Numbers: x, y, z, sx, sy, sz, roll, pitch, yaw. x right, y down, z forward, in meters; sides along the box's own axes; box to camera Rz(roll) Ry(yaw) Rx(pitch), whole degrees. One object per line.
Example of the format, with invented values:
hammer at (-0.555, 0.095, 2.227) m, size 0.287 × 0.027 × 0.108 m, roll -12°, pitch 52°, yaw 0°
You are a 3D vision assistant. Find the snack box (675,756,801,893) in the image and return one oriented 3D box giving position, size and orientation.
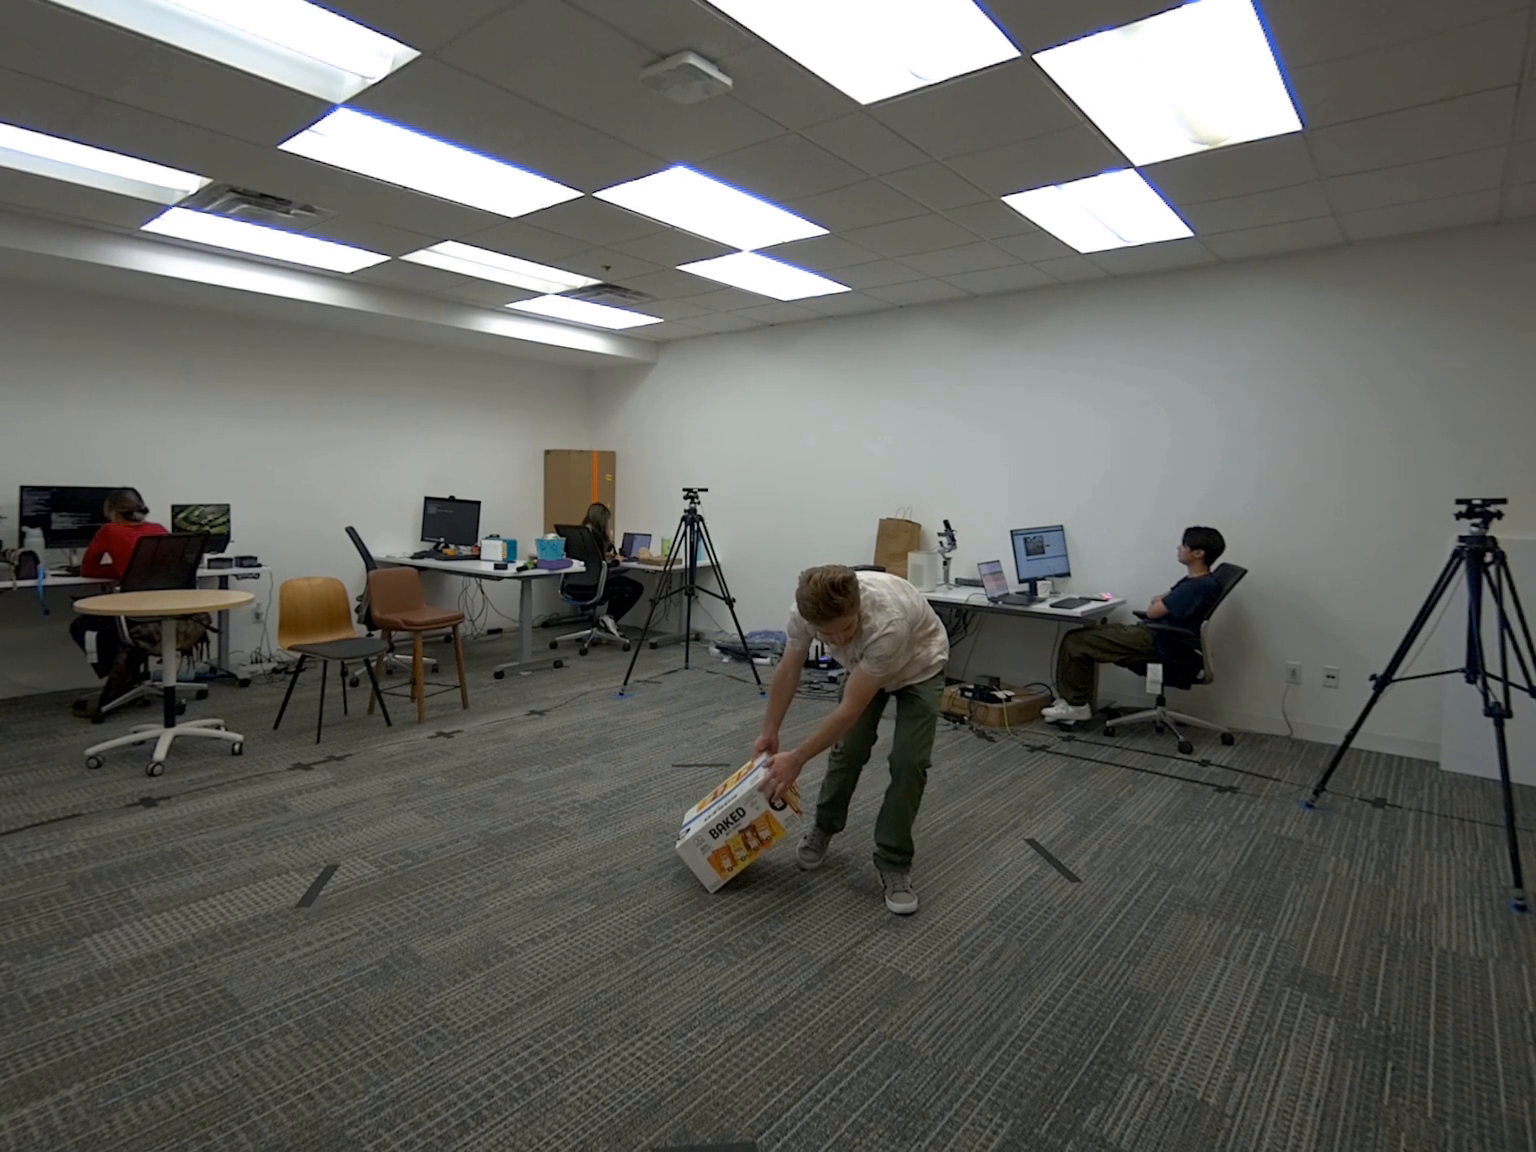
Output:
snack box at (-0.109, 0.870, 3.070) m, size 0.405 × 0.206 × 0.340 m, roll -39°, pitch 2°, yaw 4°
